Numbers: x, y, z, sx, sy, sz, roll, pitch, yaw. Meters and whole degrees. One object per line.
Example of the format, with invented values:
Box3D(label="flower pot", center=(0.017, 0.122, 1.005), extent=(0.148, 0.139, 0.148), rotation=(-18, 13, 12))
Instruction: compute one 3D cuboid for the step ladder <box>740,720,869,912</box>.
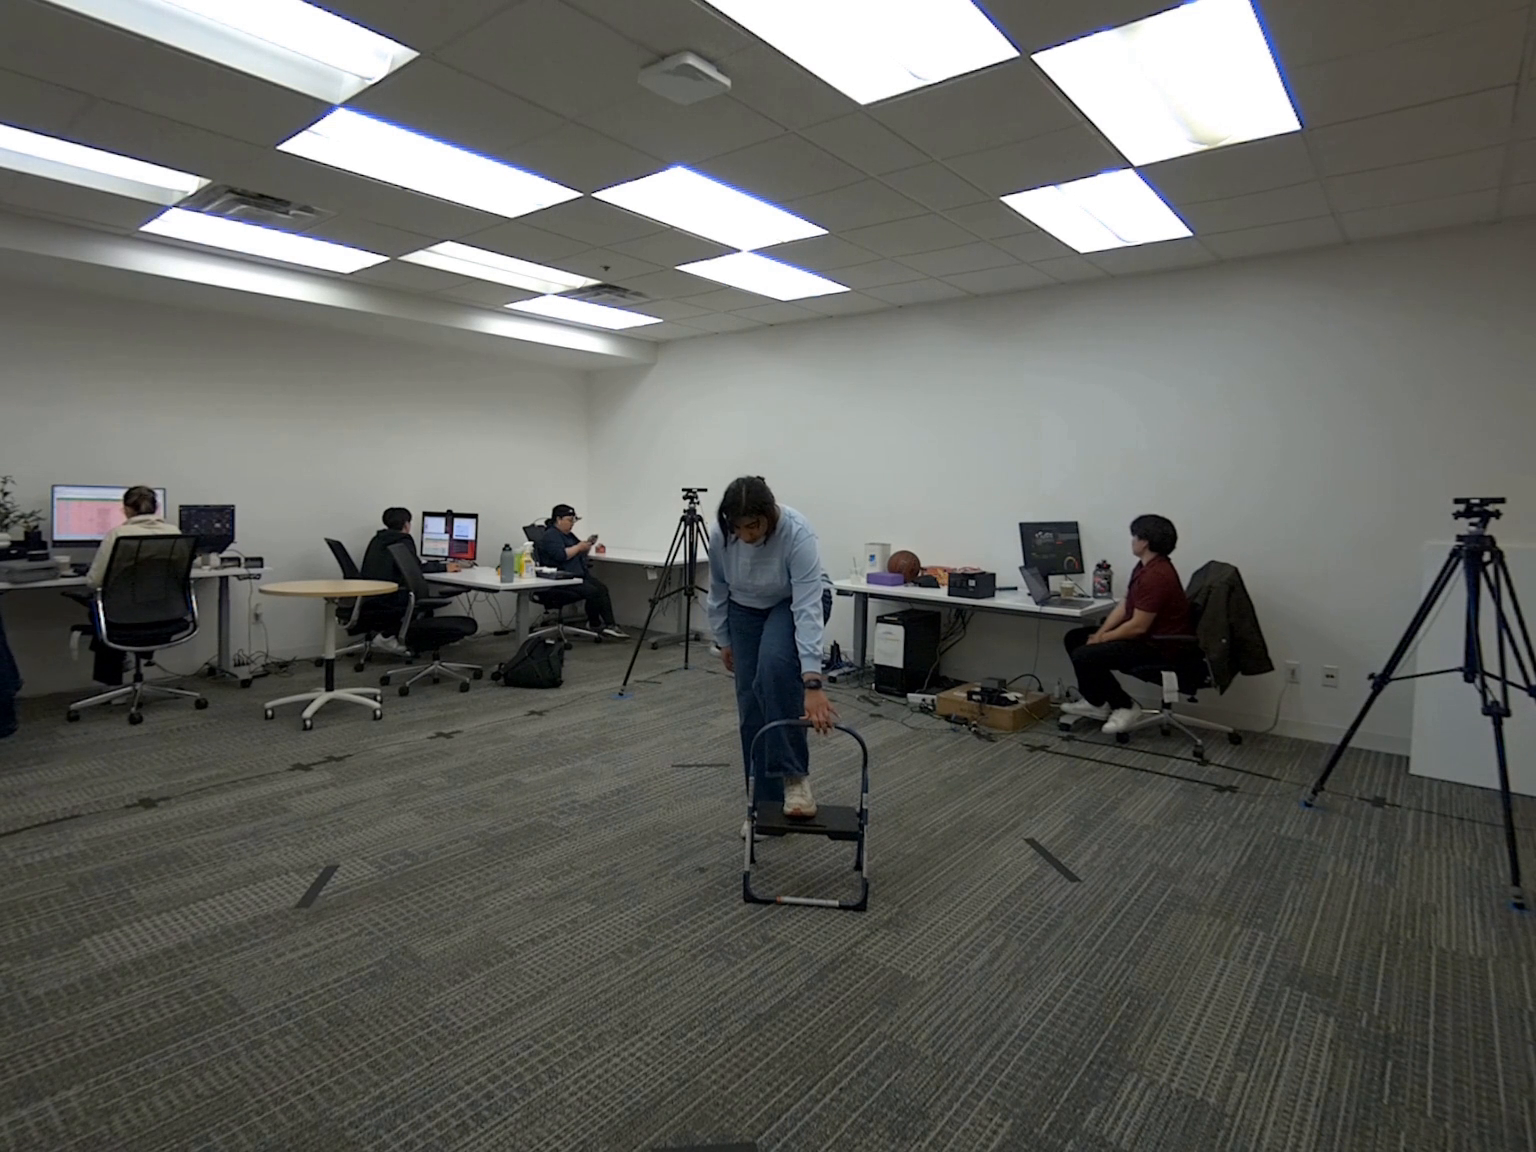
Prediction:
Box3D(label="step ladder", center=(0.130, 0.788, 2.995), extent=(0.433, 0.604, 0.348), rotation=(2, 3, 4))
